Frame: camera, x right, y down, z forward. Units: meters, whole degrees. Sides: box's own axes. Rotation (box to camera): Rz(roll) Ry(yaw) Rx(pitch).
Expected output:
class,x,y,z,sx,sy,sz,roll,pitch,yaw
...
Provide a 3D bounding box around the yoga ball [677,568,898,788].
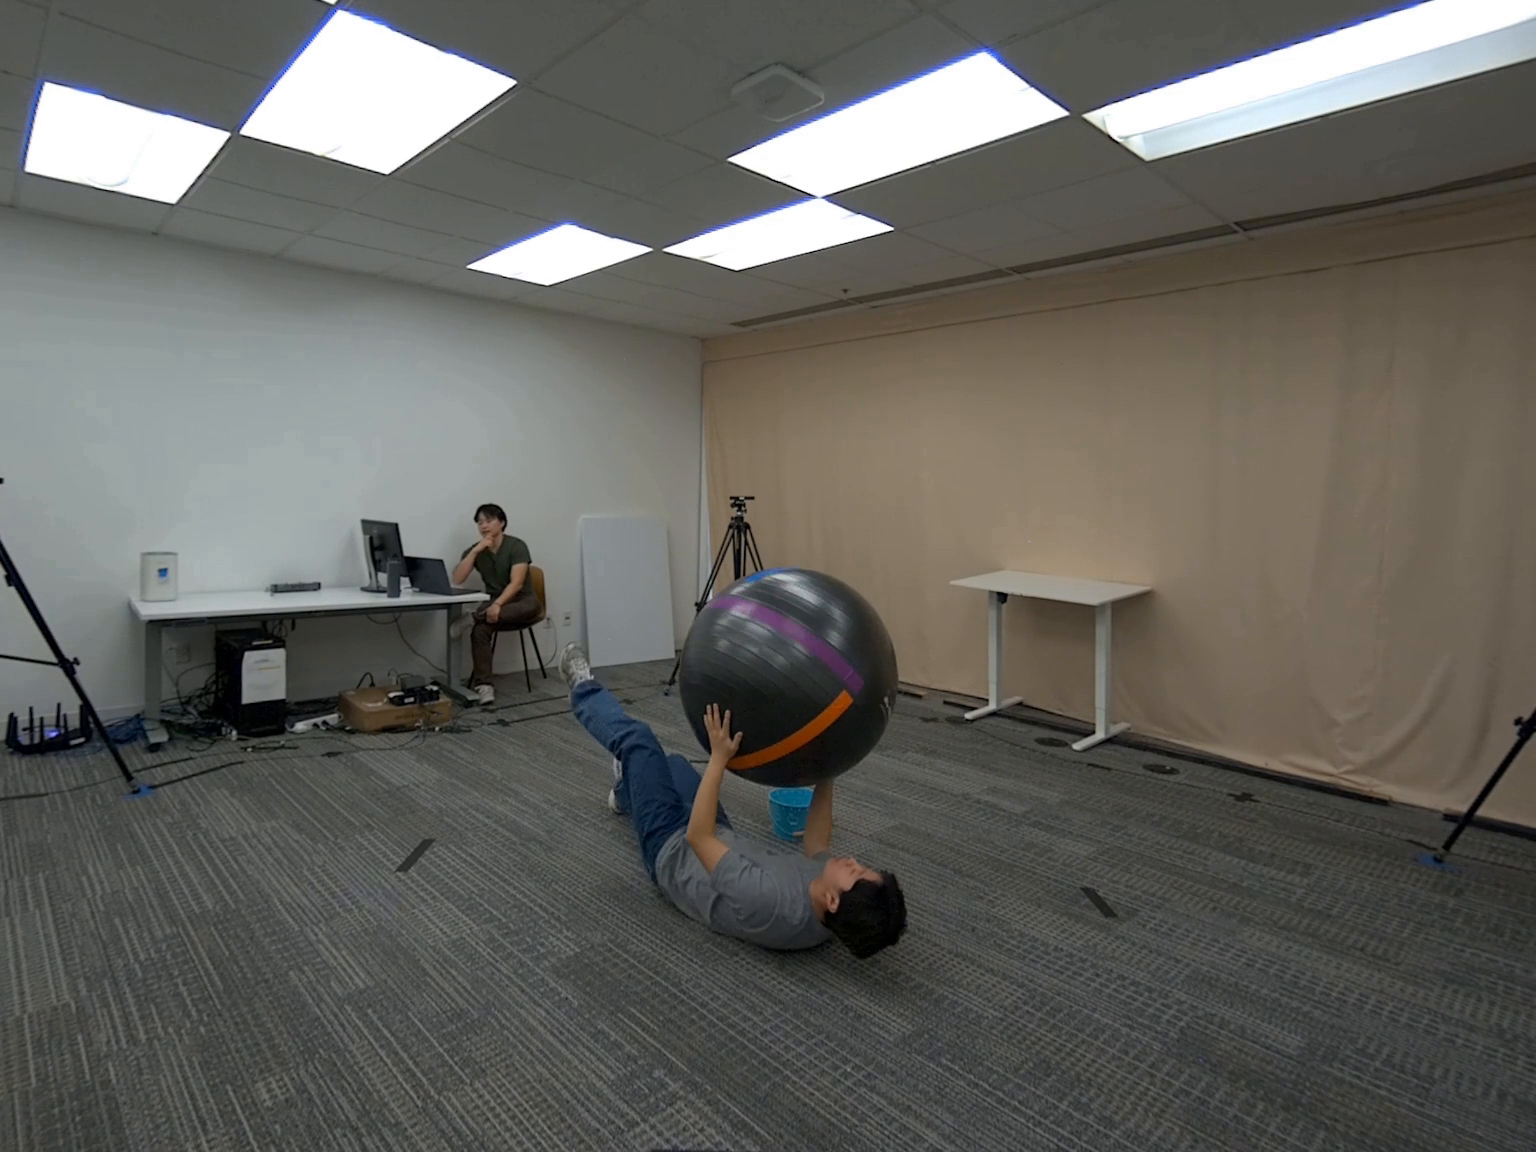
class,x,y,z,sx,sy,sz,roll,pitch,yaw
yoga ball,0.068,0.358,2.952,0.757,0.756,0.761,1,4,-1
